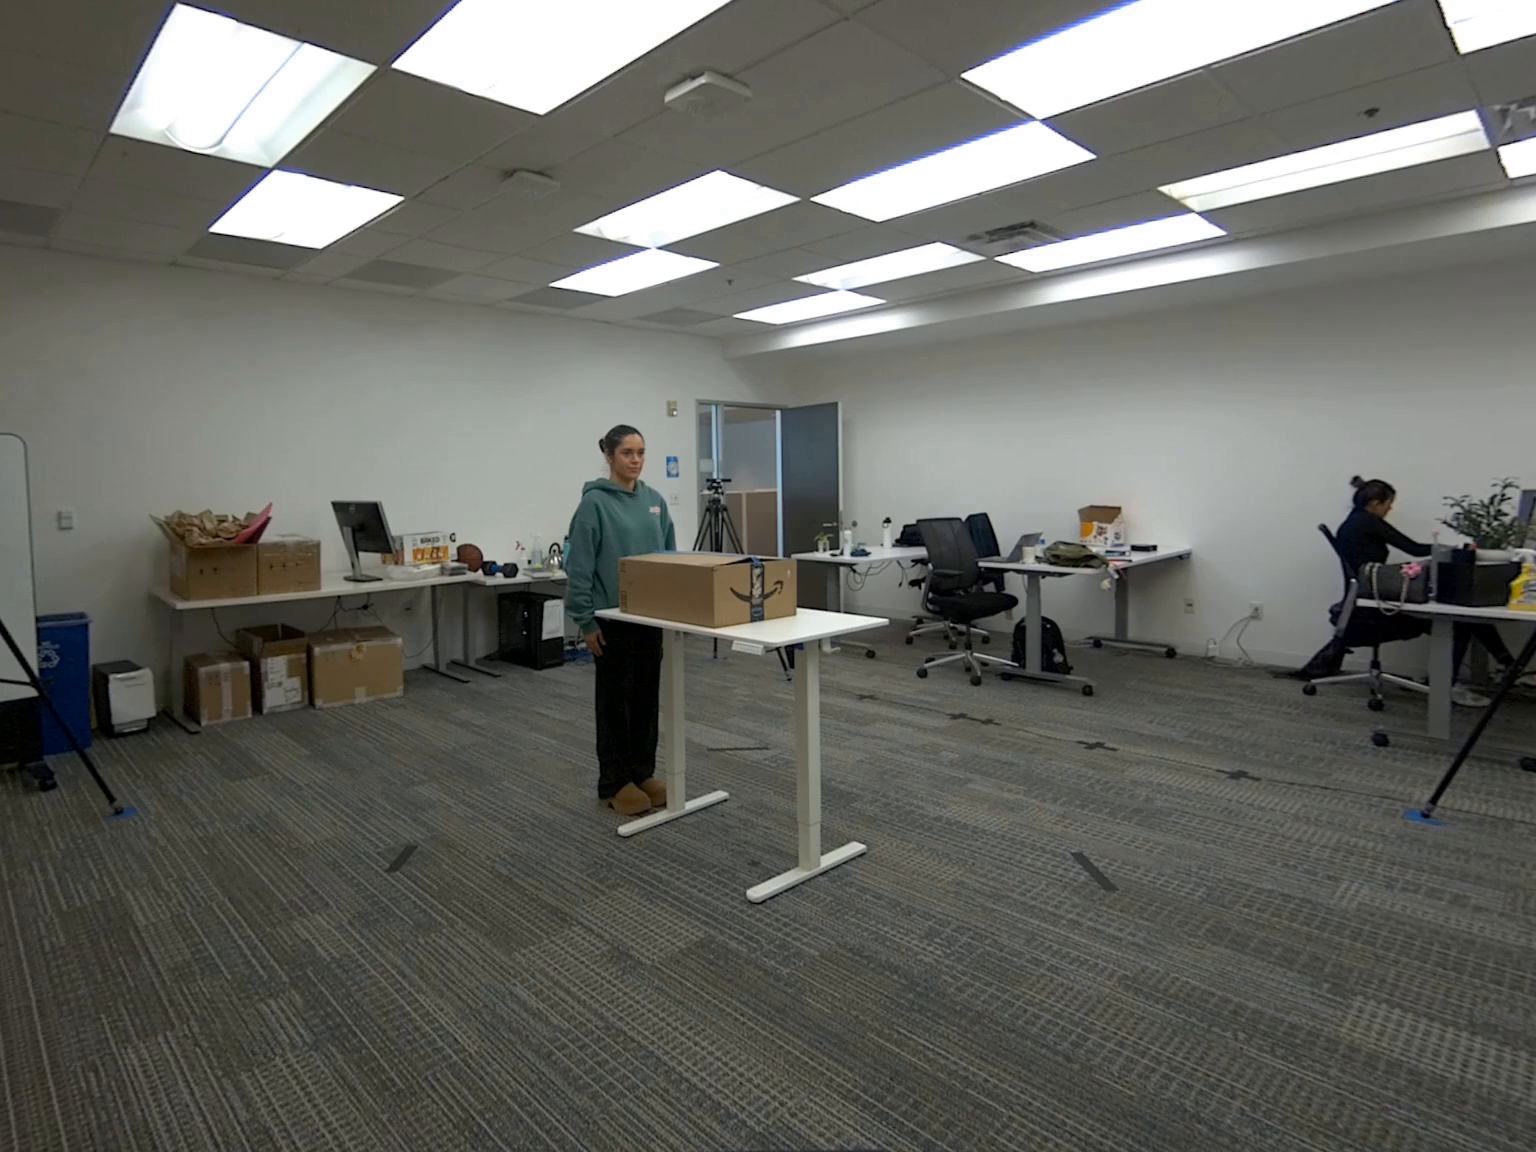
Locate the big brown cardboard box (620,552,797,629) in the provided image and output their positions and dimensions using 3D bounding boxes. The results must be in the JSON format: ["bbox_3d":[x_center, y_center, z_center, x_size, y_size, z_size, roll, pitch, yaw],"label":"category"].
[{"bbox_3d":[-0.232,0.038,3.271,0.406,0.232,0.607,-6,7,-43],"label":"big brown cardboard box"}]
